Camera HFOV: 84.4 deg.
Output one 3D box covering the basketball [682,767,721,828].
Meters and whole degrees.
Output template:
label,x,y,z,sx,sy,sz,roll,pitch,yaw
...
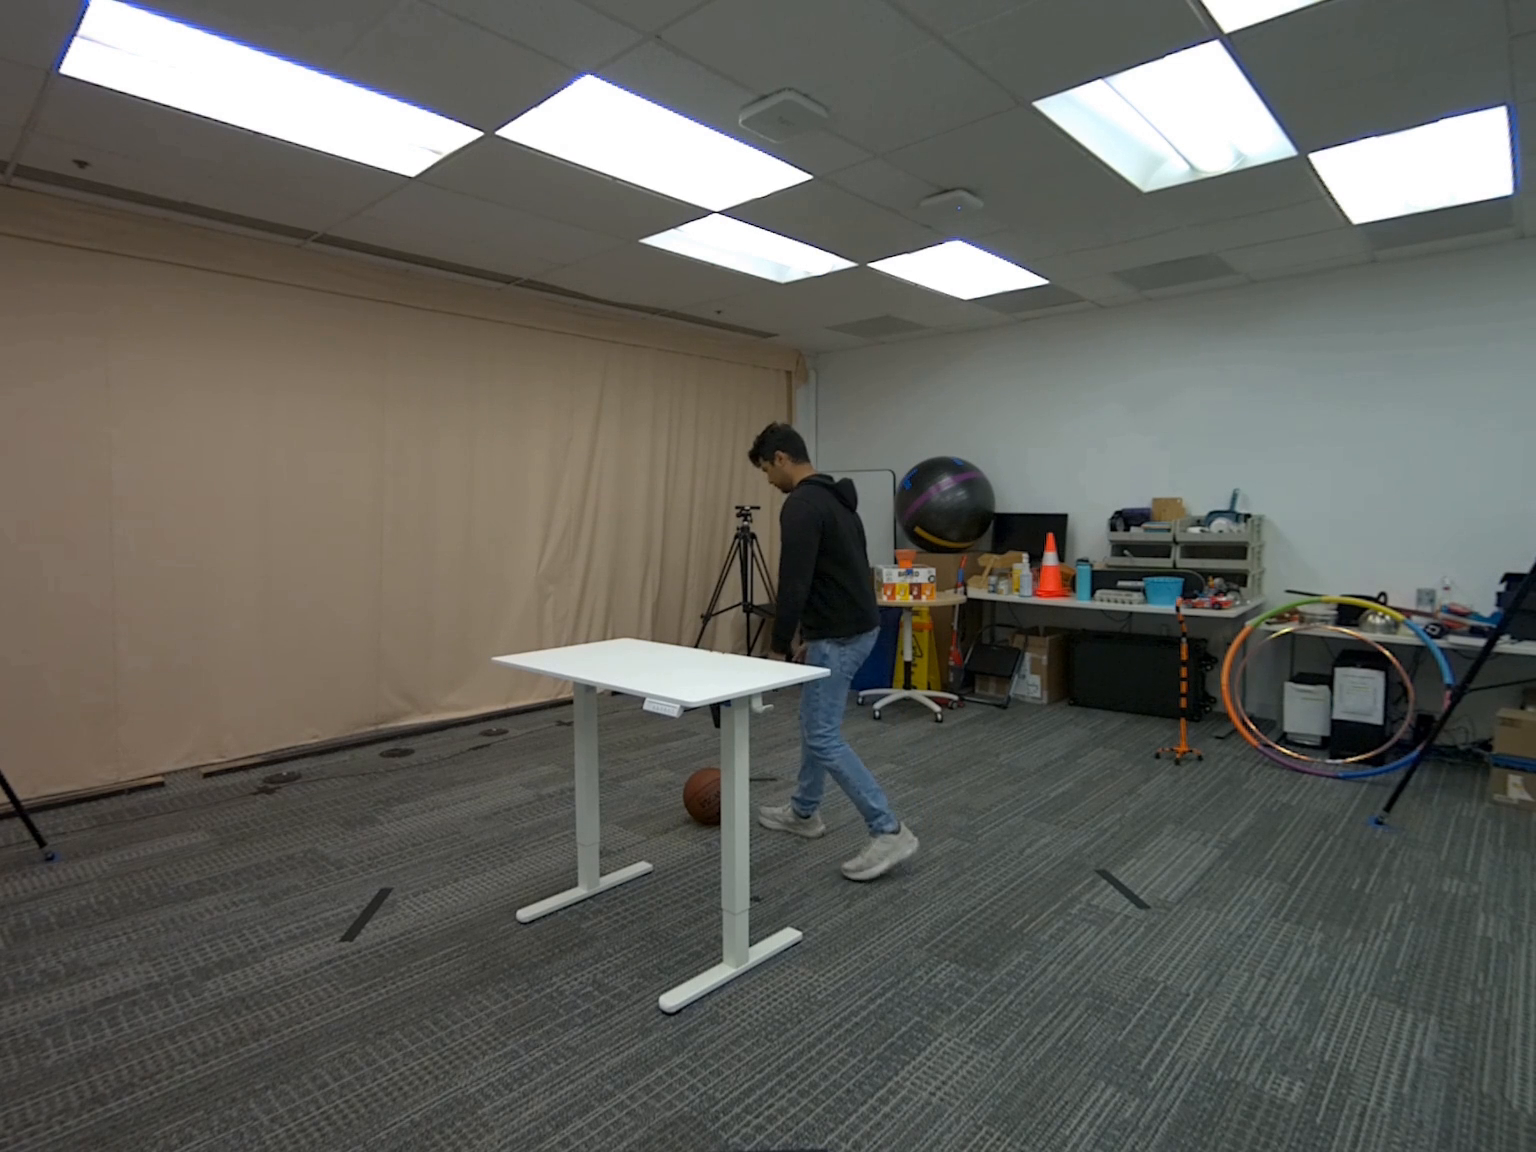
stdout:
label,x,y,z,sx,sy,sz,roll,pitch,yaw
basketball,-0.261,0.963,3.715,0.236,0.235,0.237,0,4,-2
